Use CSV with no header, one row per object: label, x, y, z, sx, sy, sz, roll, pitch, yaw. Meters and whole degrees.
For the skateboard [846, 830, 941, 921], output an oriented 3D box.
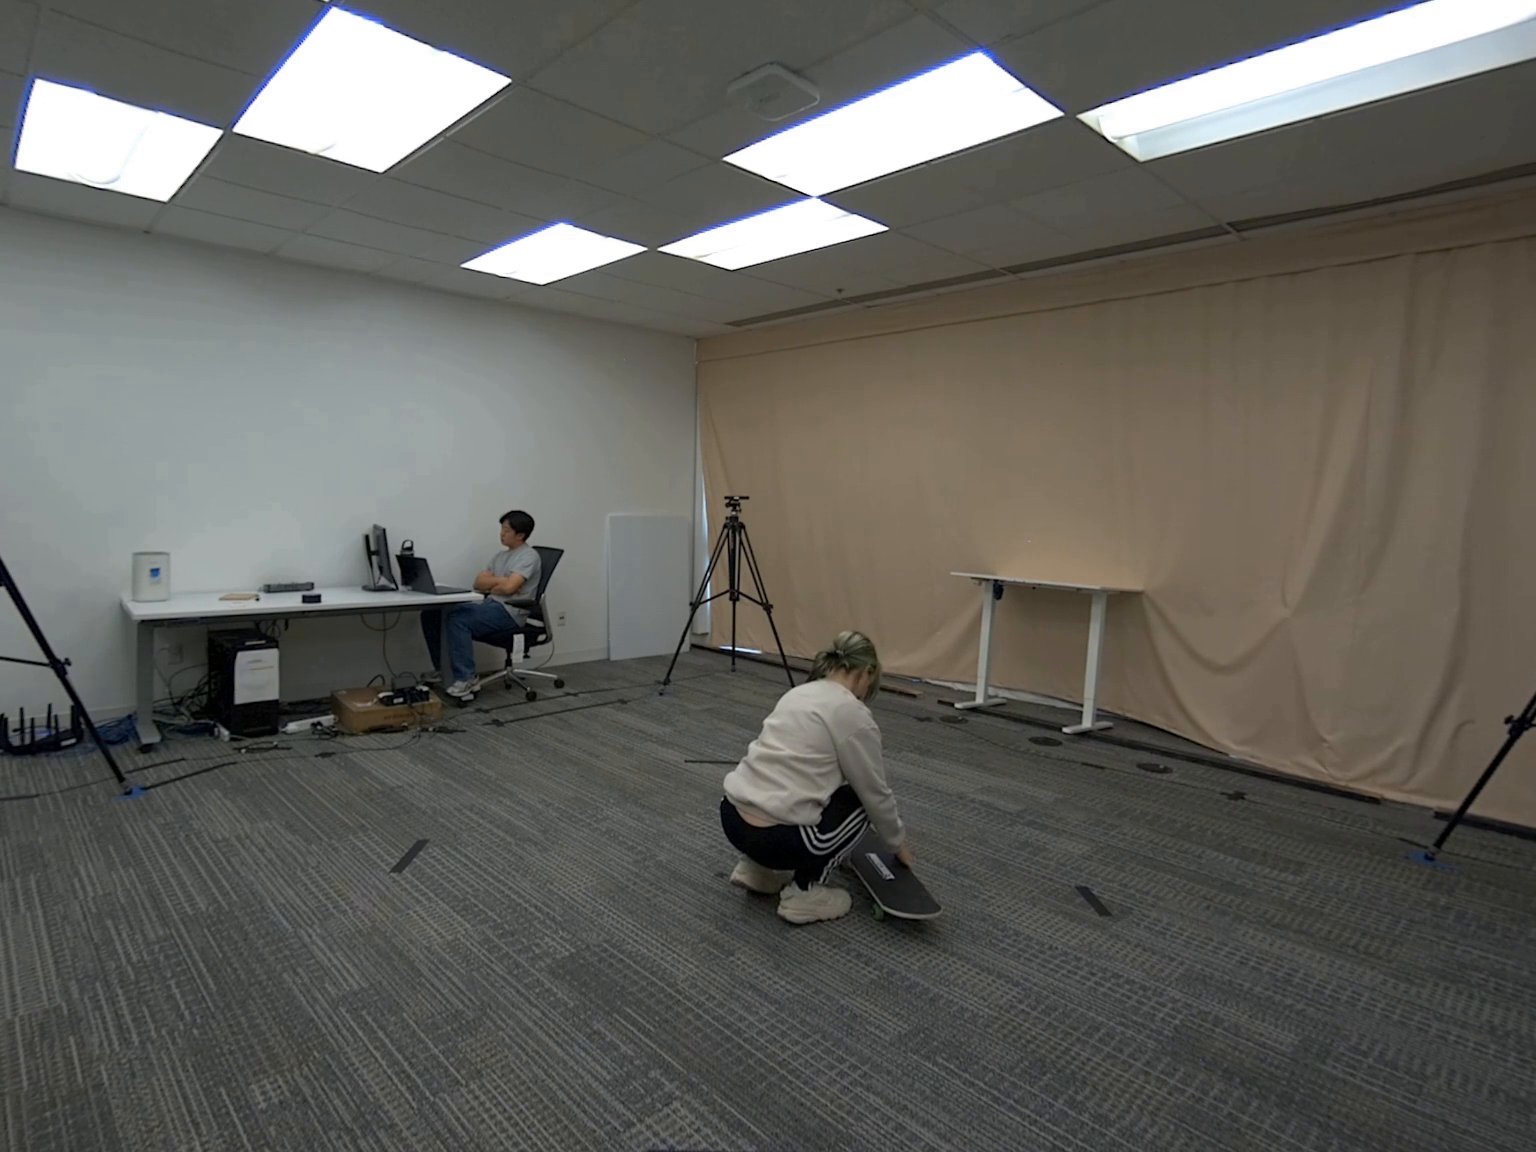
skateboard,0.392,1.058,3.018,0.191,0.110,0.796,0,7,-13
